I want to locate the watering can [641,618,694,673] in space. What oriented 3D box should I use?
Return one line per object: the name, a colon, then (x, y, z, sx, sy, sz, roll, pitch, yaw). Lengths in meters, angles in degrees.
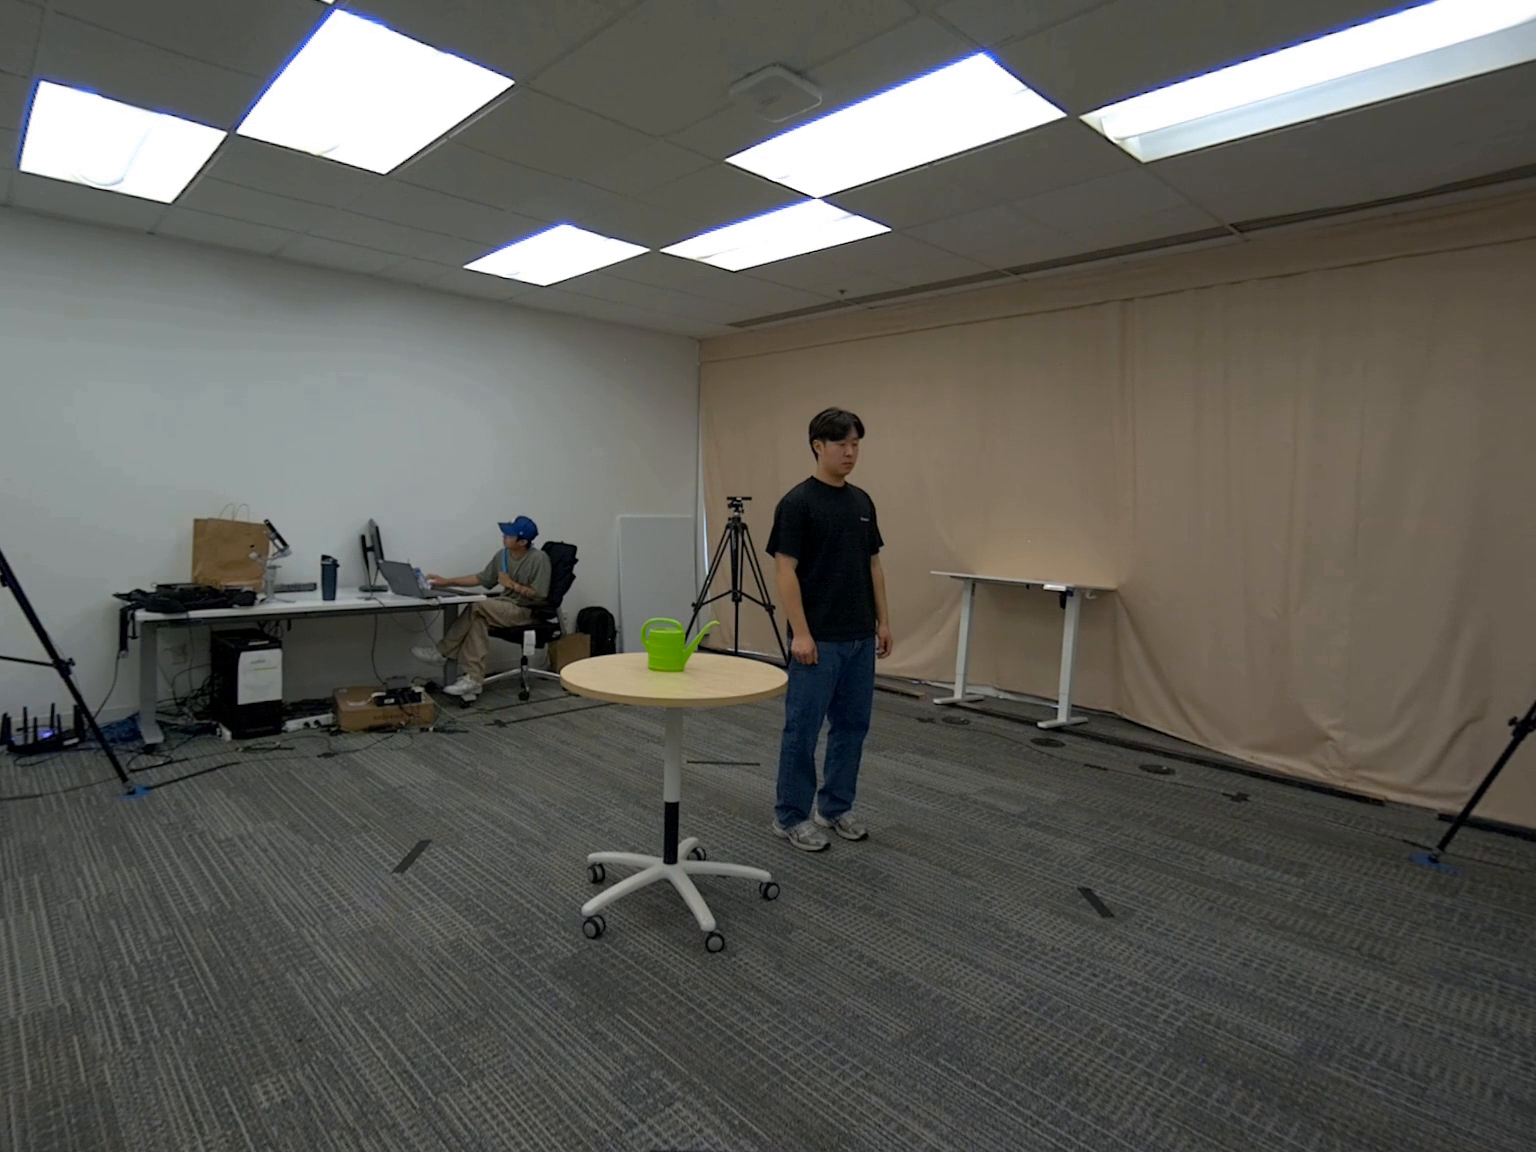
watering can: (-0.317, 0.244, 2.877, 0.284, 0.176, 0.096, 1, 3, 27)
